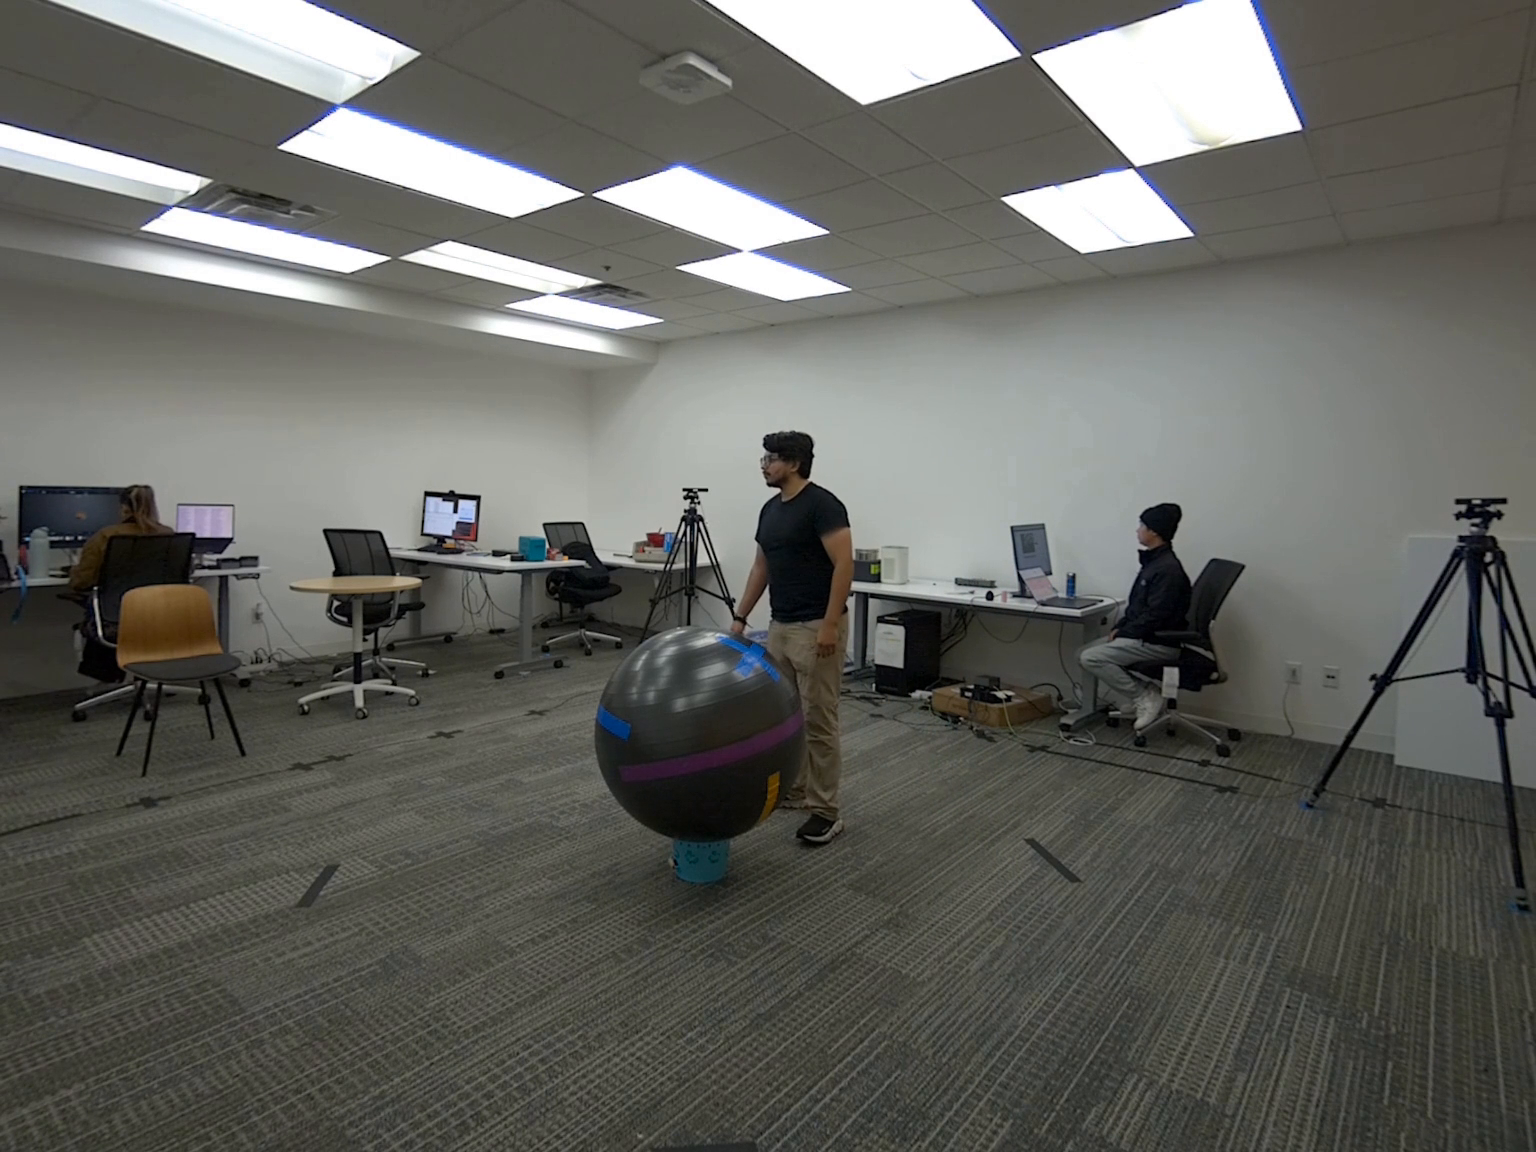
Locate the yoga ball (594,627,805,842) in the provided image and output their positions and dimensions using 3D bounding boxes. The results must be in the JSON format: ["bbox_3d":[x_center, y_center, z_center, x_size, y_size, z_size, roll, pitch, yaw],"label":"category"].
[{"bbox_3d":[-0.261,0.564,3.067,0.757,0.756,0.762,1,4,-2],"label":"yoga ball"}]
